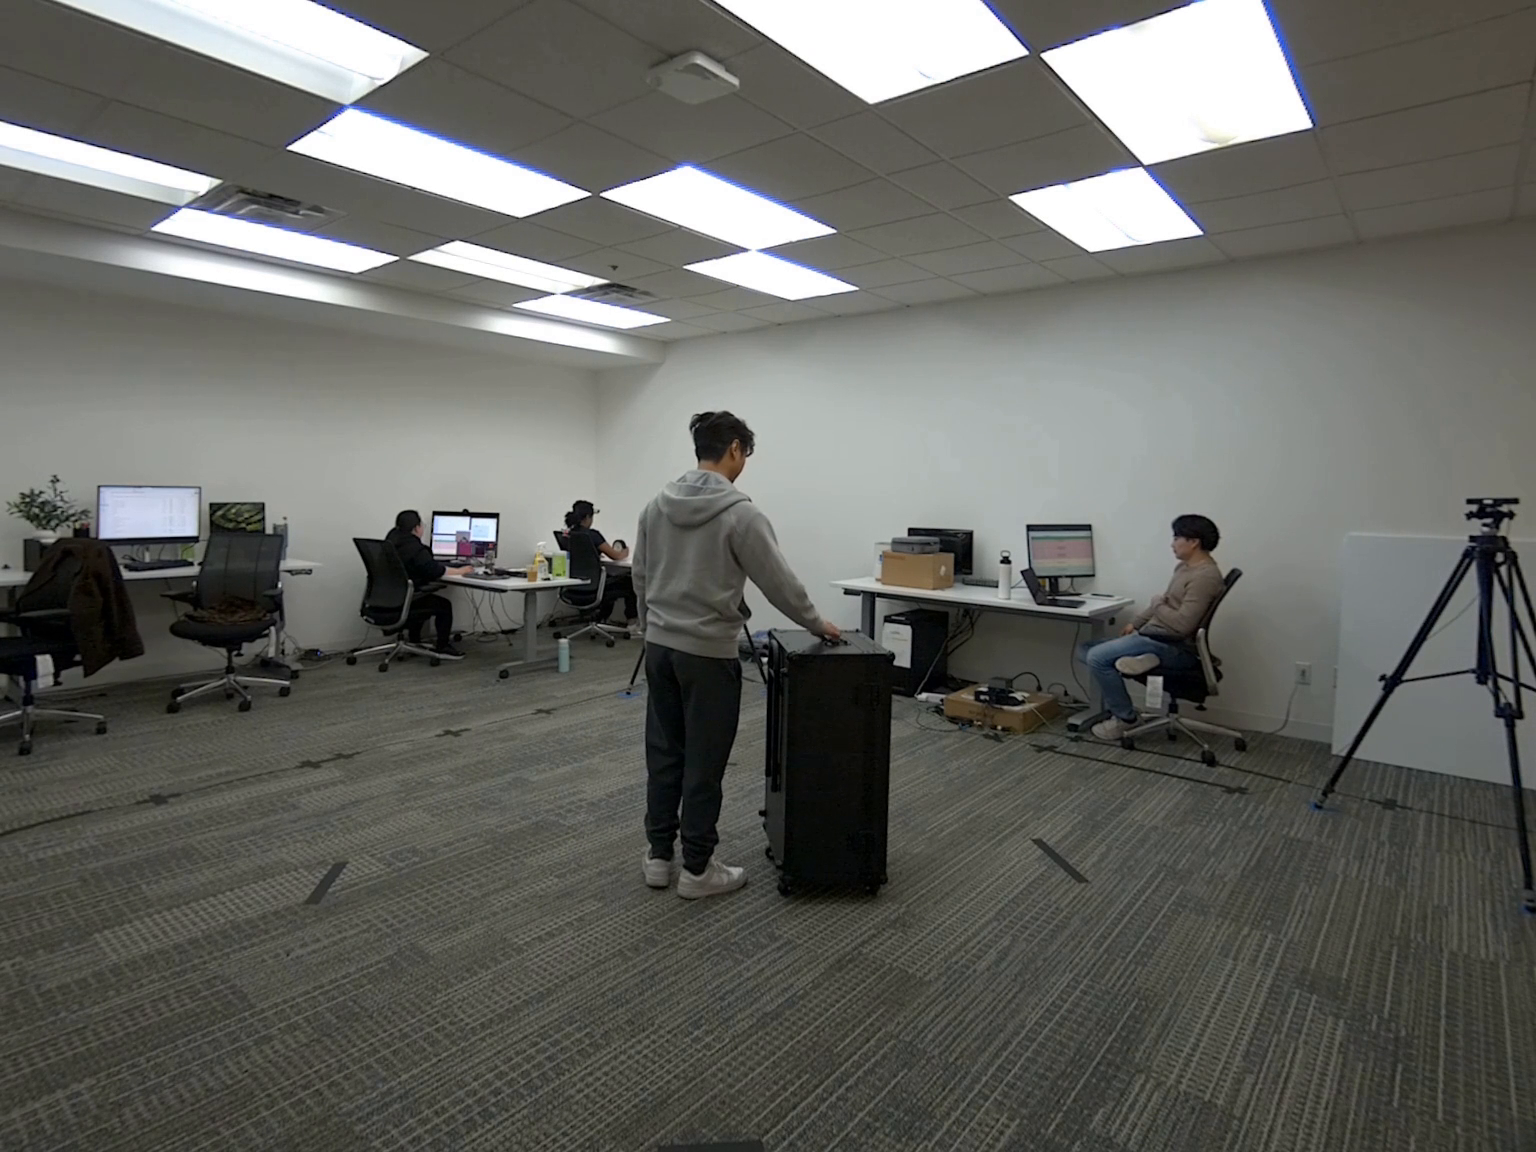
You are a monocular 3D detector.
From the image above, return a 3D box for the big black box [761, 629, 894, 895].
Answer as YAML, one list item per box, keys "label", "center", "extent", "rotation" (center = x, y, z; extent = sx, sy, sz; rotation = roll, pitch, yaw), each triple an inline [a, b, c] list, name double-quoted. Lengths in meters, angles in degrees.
- label: "big black box"
  center: [0.186, 0.663, 3.067]
  extent: [0.394, 0.858, 0.527]
  rotation: [0, 4, -7]
